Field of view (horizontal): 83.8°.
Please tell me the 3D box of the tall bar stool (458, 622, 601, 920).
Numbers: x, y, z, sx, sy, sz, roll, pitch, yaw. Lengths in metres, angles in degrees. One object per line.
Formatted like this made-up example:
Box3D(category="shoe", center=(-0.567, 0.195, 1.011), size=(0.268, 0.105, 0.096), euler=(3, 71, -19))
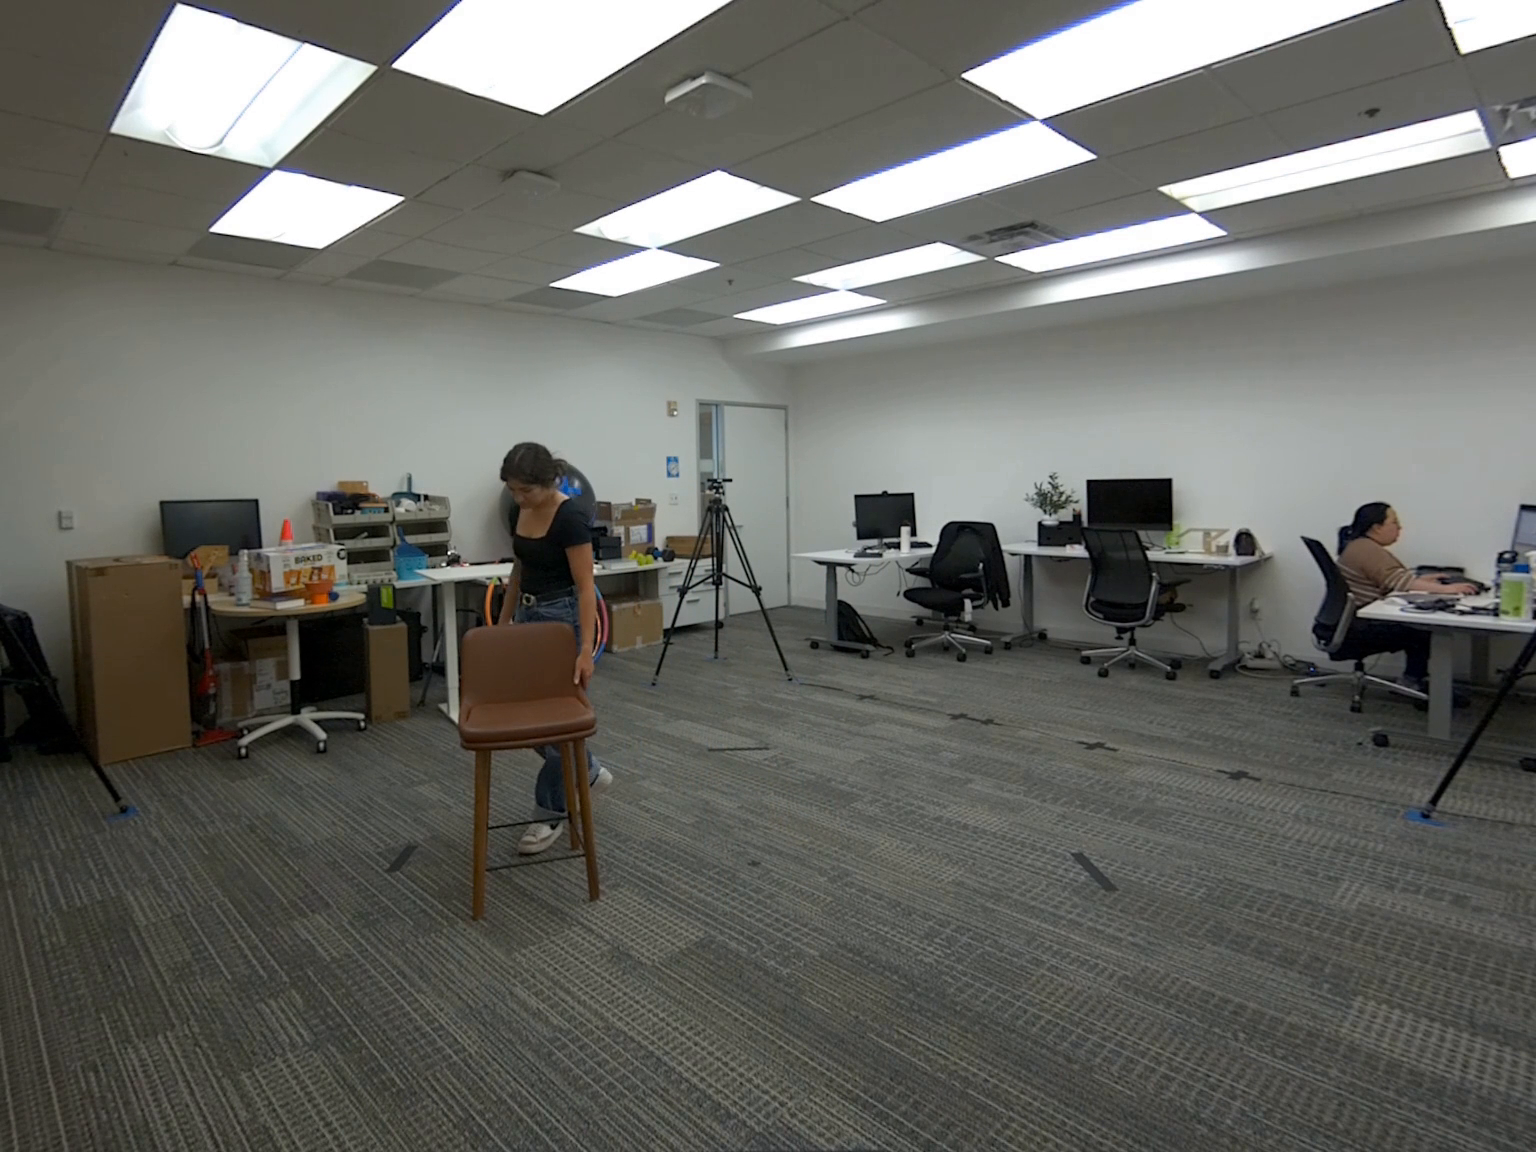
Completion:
Box3D(category="tall bar stool", center=(-0.841, 0.638, 2.987), size=(0.449, 0.888, 0.476), euler=(-3, 2, -18))
